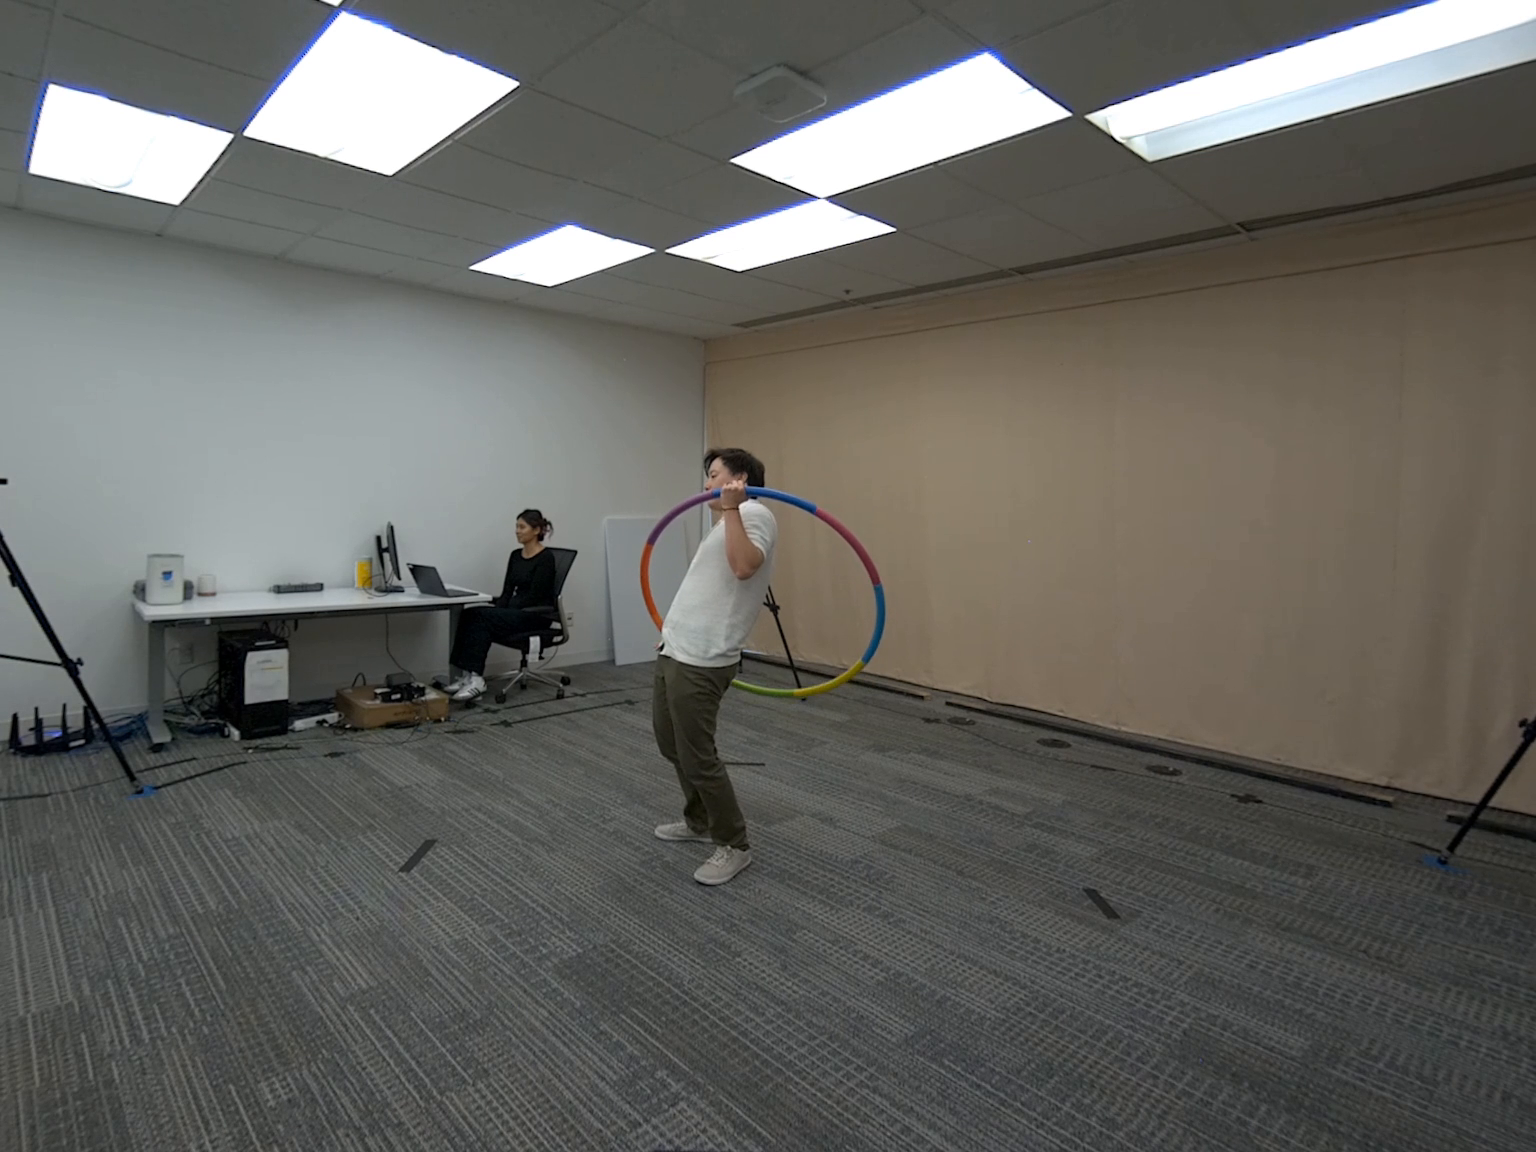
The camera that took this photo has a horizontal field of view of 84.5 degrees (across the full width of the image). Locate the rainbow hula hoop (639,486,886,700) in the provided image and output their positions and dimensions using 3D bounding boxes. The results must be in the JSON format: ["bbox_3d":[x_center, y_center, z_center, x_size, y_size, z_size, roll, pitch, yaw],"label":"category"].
[{"bbox_3d":[-0.044,0.078,3.253,0.993,0.956,0.036,3,34,18],"label":"rainbow hula hoop"}]
